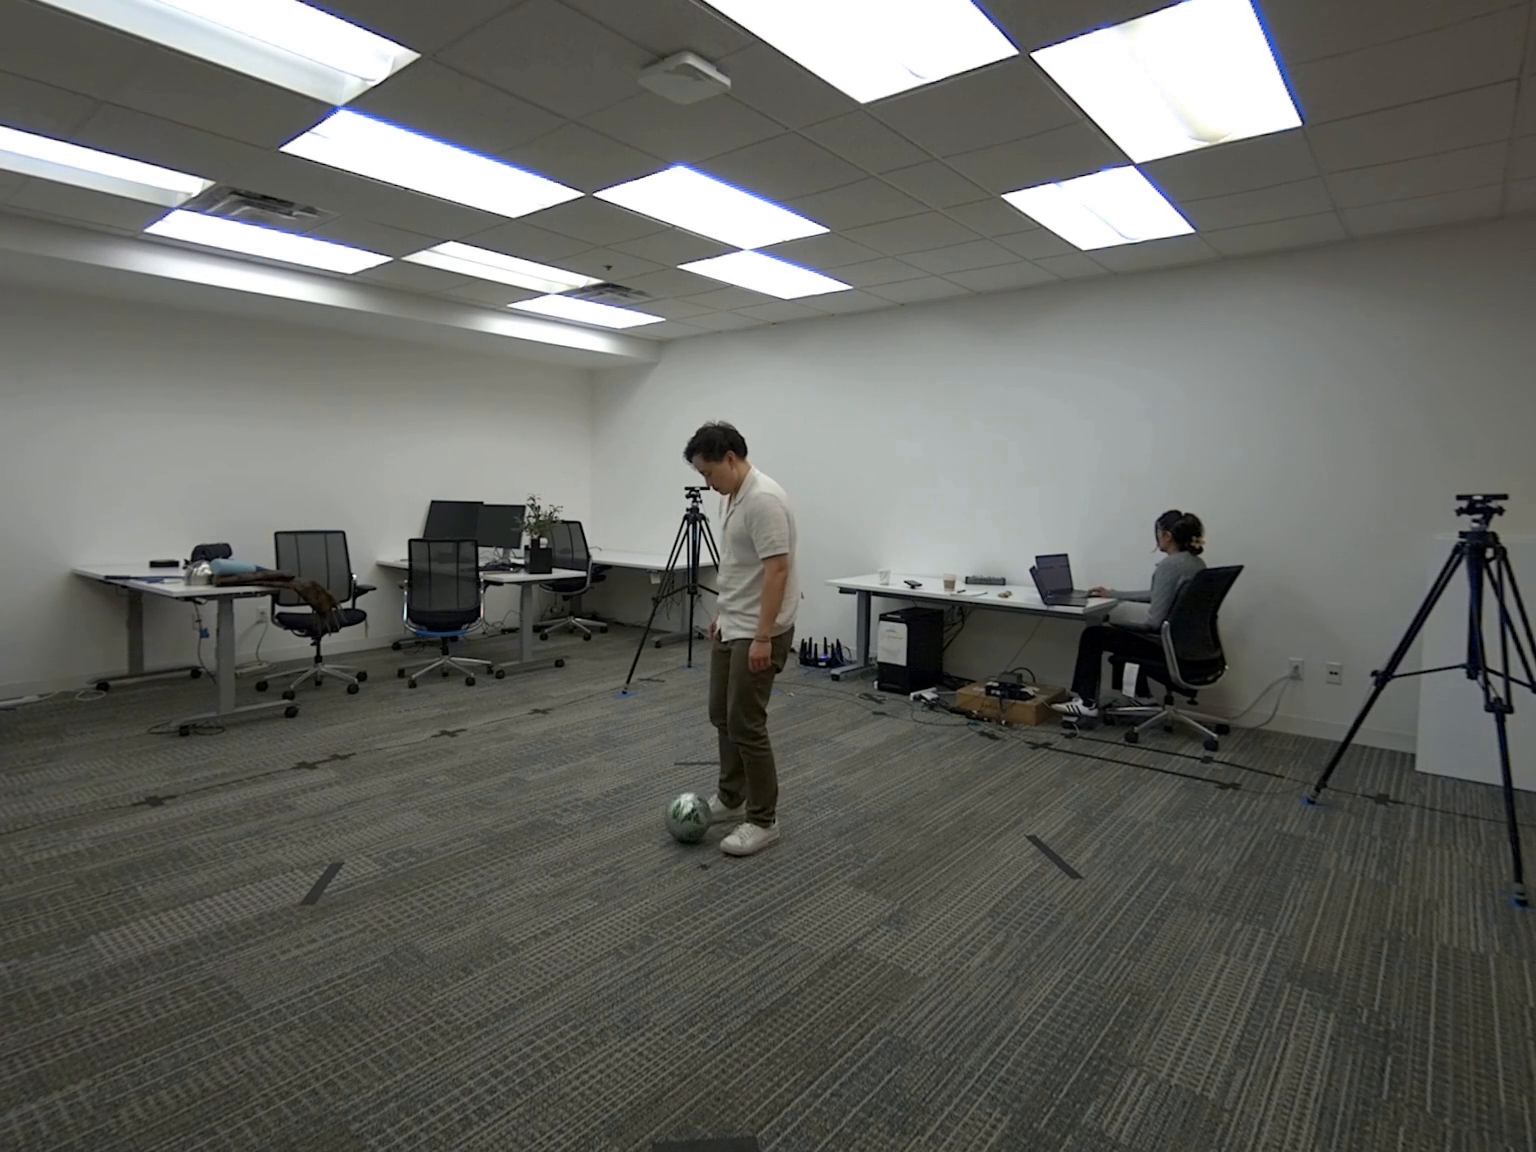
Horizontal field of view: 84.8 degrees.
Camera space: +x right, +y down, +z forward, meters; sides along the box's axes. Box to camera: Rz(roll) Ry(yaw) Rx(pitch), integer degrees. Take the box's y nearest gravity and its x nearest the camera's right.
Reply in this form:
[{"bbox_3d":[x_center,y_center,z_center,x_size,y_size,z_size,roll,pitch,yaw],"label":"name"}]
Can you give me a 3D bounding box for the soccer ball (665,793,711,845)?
[{"bbox_3d":[-0.325,0.944,3.353,0.187,0.187,0.188,0,4,-2],"label":"soccer ball"}]
